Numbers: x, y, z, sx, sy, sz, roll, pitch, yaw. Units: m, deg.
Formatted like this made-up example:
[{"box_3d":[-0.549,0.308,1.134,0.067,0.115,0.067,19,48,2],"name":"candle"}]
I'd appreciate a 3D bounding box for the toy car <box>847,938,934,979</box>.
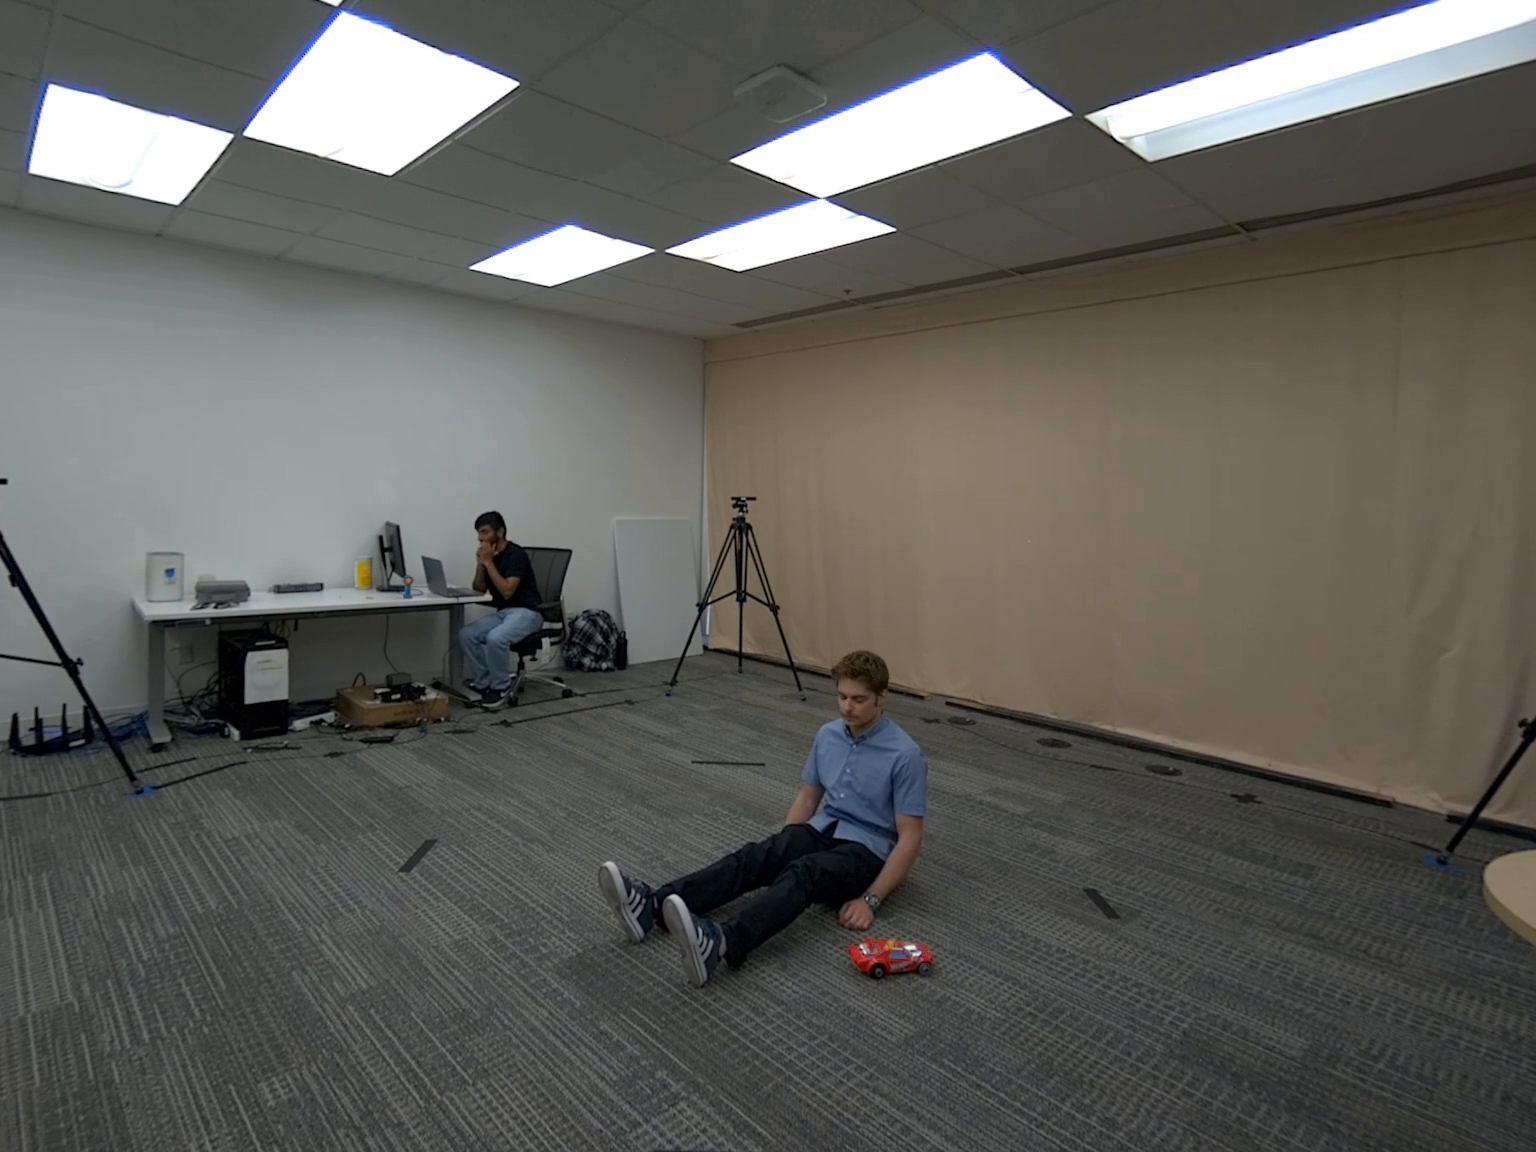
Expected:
[{"box_3d":[0.365,1.149,2.507,0.251,0.083,0.132,10,5,-13],"name":"toy car"}]
